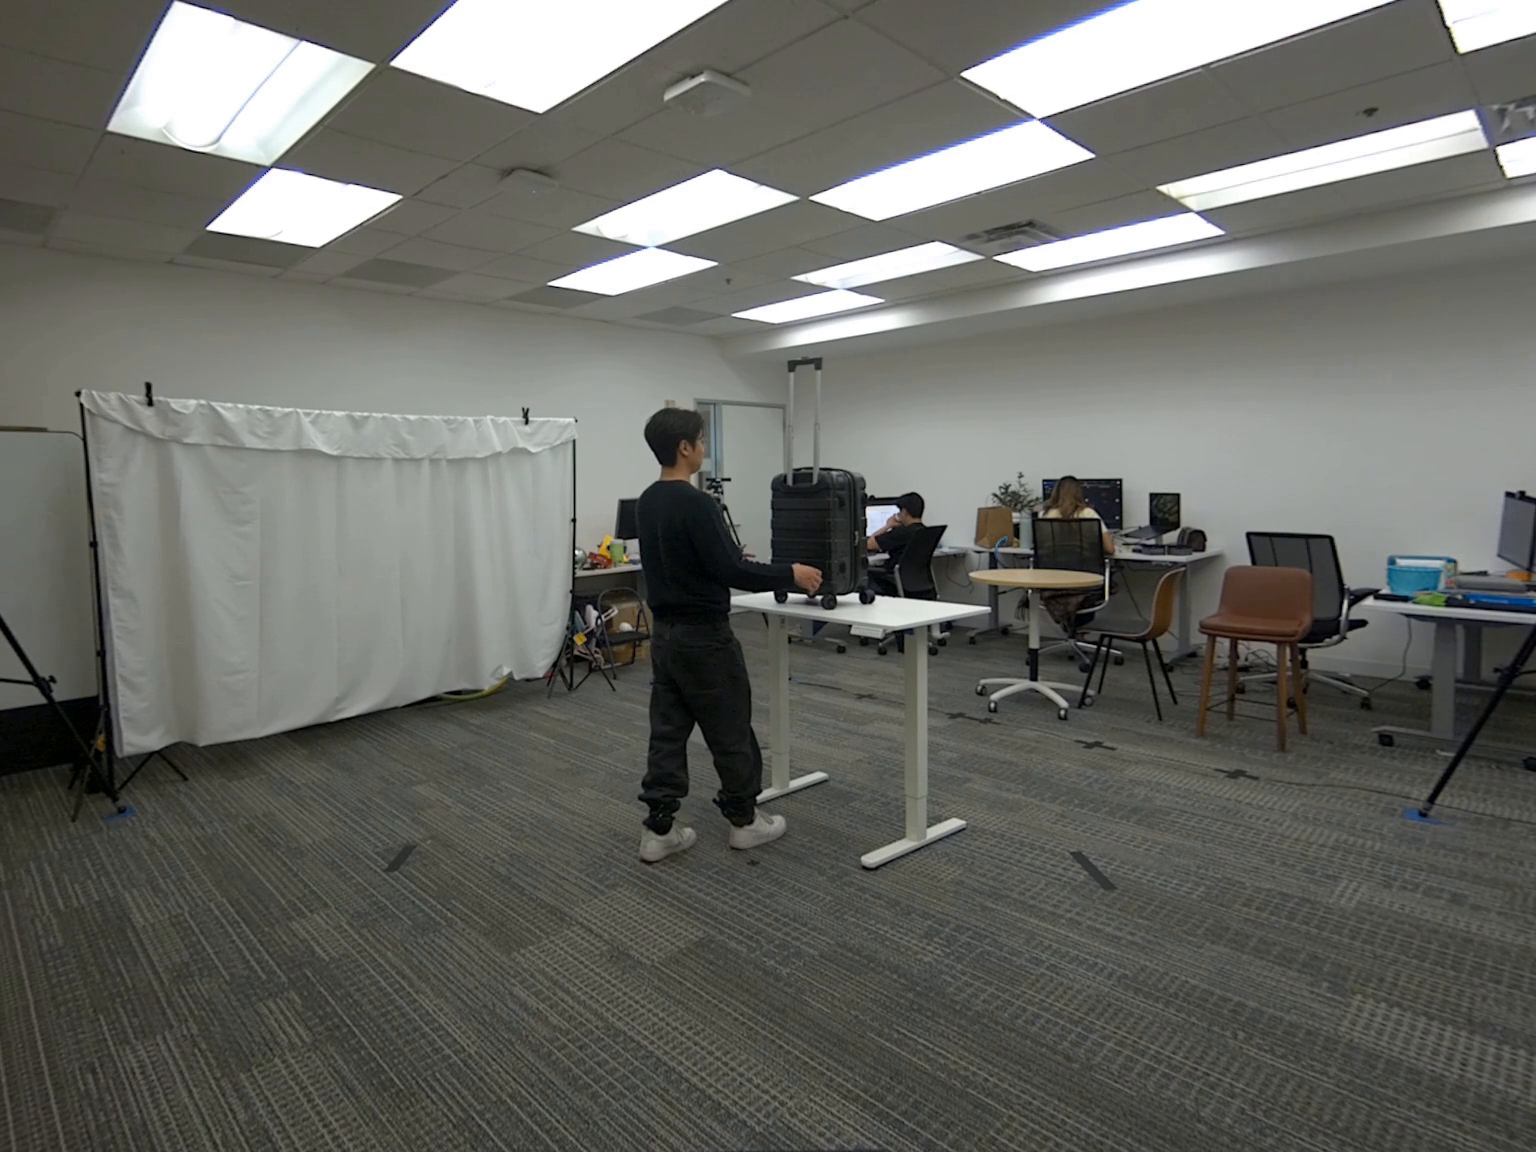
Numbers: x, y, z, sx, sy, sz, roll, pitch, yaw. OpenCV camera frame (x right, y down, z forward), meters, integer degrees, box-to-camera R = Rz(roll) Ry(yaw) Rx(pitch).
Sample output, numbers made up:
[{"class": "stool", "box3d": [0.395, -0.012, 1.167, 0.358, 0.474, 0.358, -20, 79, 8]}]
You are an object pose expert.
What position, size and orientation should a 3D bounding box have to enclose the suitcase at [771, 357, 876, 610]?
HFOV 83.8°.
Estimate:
[{"class": "suitcase", "box3d": [0.209, -0.371, 3.473, 0.395, 0.977, 0.250, 2, 3, 43]}]
